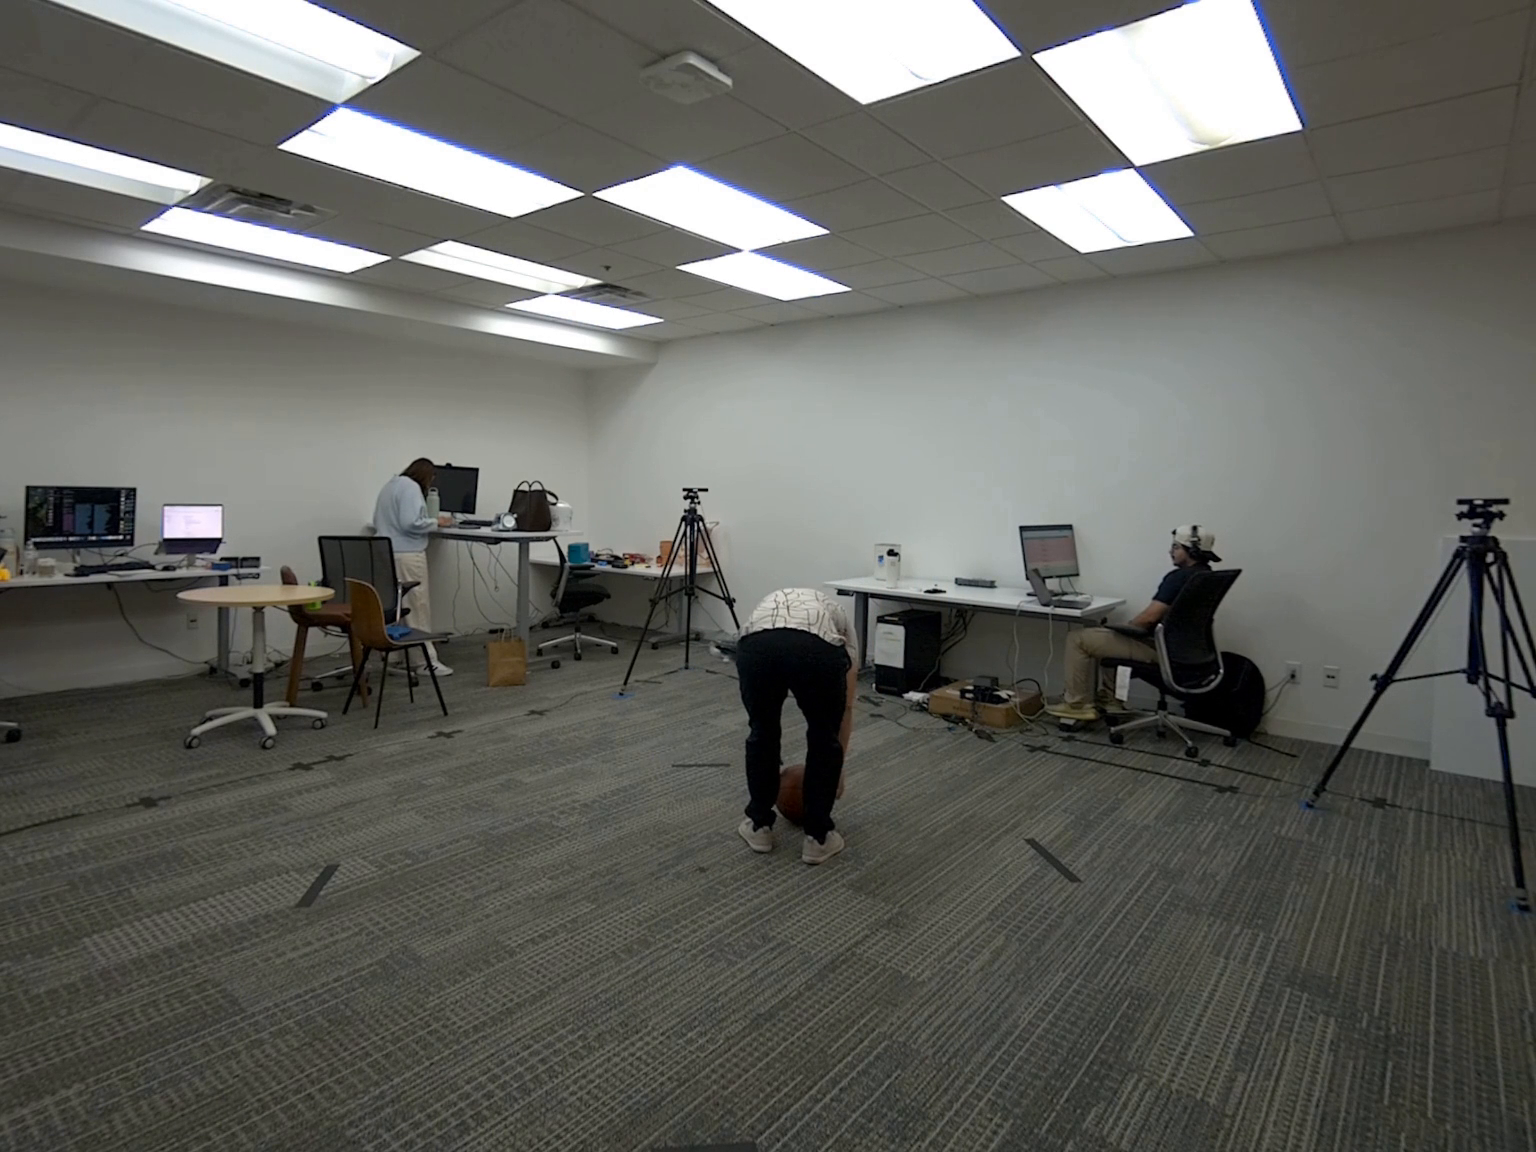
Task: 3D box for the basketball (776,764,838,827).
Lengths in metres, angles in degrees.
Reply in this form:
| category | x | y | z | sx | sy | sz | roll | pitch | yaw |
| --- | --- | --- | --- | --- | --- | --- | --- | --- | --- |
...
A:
| category | x | y | z | sx | sy | sz | roll | pitch | yaw |
| --- | --- | --- | --- | --- | --- | --- | --- | --- | --- |
| basketball | 0.124 | 0.905 | 3.574 | 0.235 | 0.235 | 0.237 | 1 | 4 | -2 |
